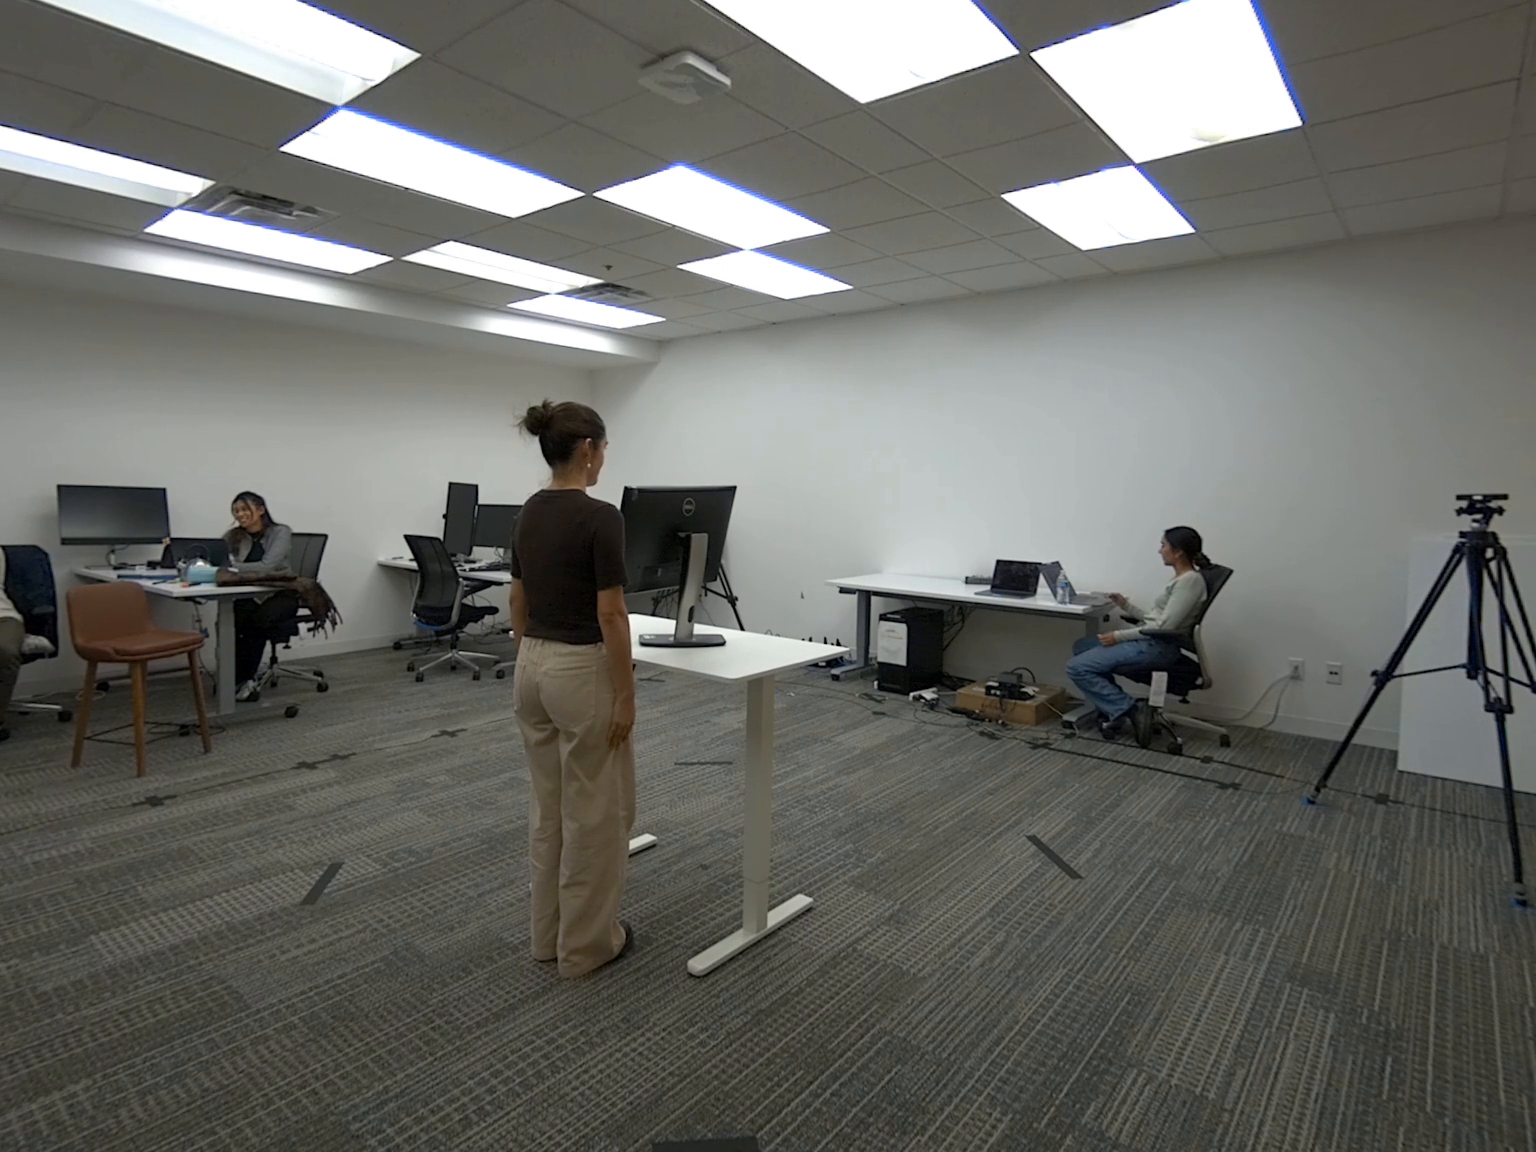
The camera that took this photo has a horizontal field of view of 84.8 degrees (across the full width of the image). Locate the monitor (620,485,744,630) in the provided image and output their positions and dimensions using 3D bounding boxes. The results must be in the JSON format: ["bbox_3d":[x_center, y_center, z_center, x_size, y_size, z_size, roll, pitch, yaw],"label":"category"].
[{"bbox_3d":[-0.297,-0.034,2.748,0.193,0.520,0.525,3,6,33],"label":"monitor"}]
